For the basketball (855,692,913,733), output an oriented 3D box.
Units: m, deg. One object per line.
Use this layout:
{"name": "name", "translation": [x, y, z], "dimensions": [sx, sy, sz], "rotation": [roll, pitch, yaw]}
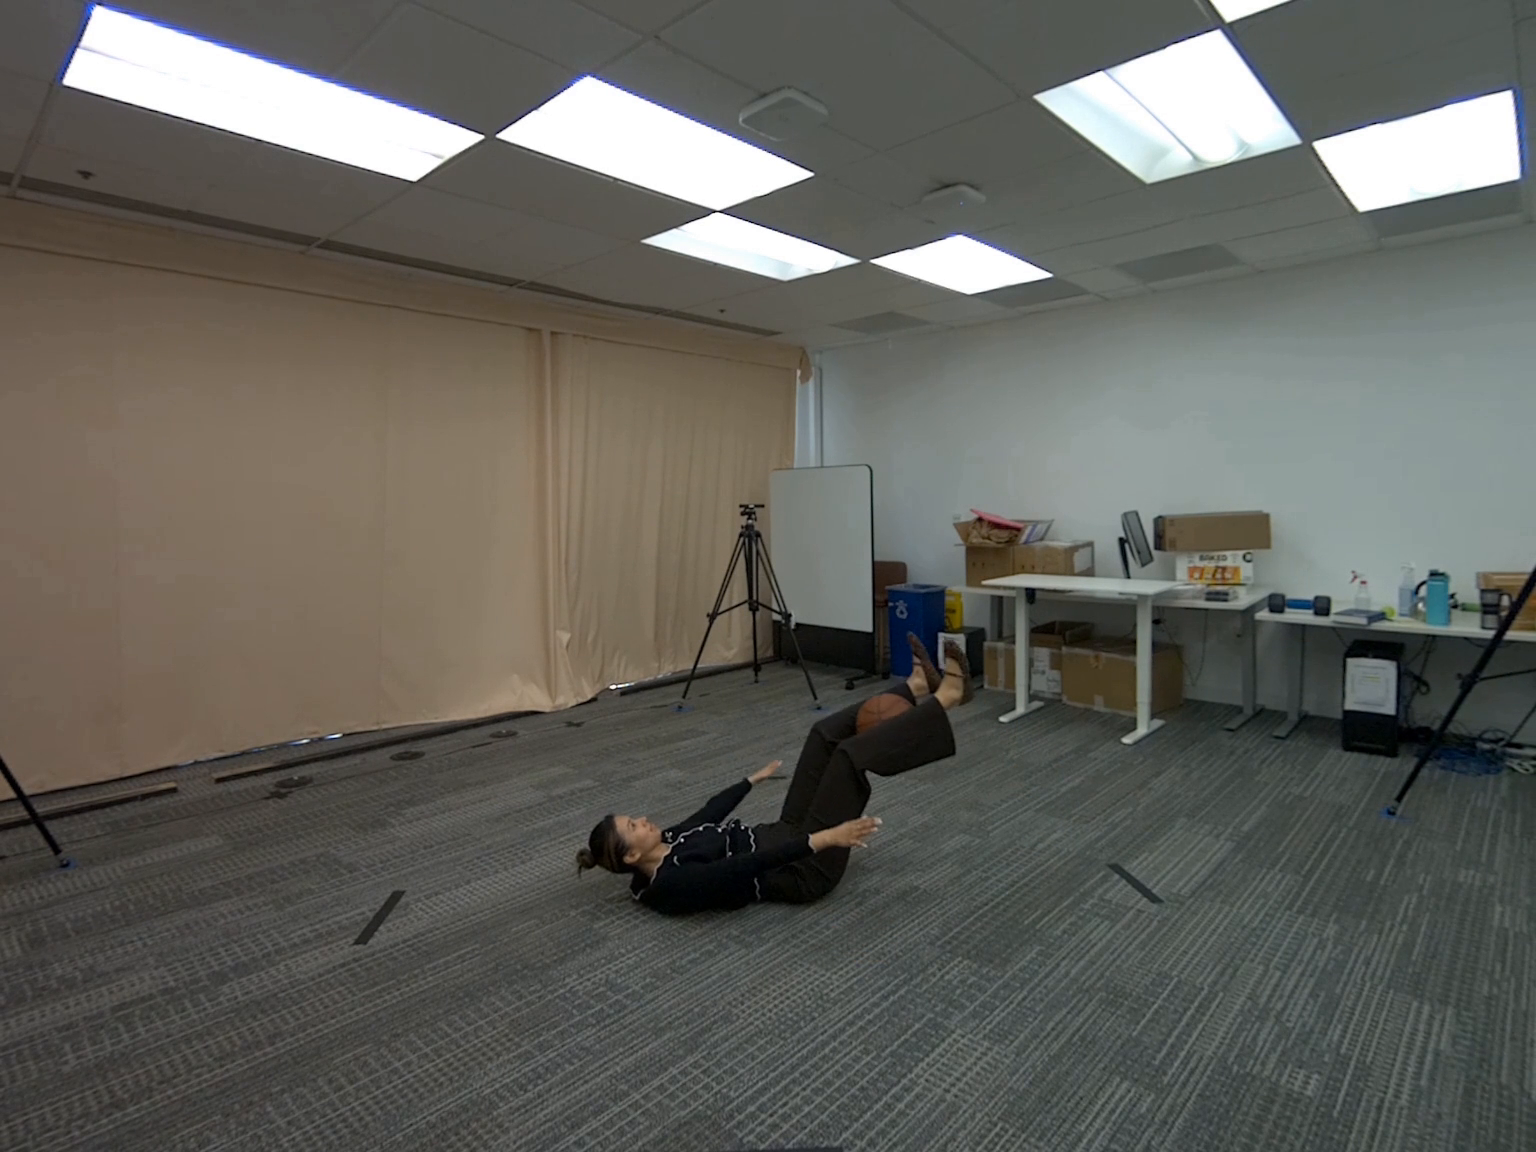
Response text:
{"name": "basketball", "translation": [0.445, 0.568, 3.133], "dimensions": [0.236, 0.235, 0.237], "rotation": [-1, 4, -2]}
